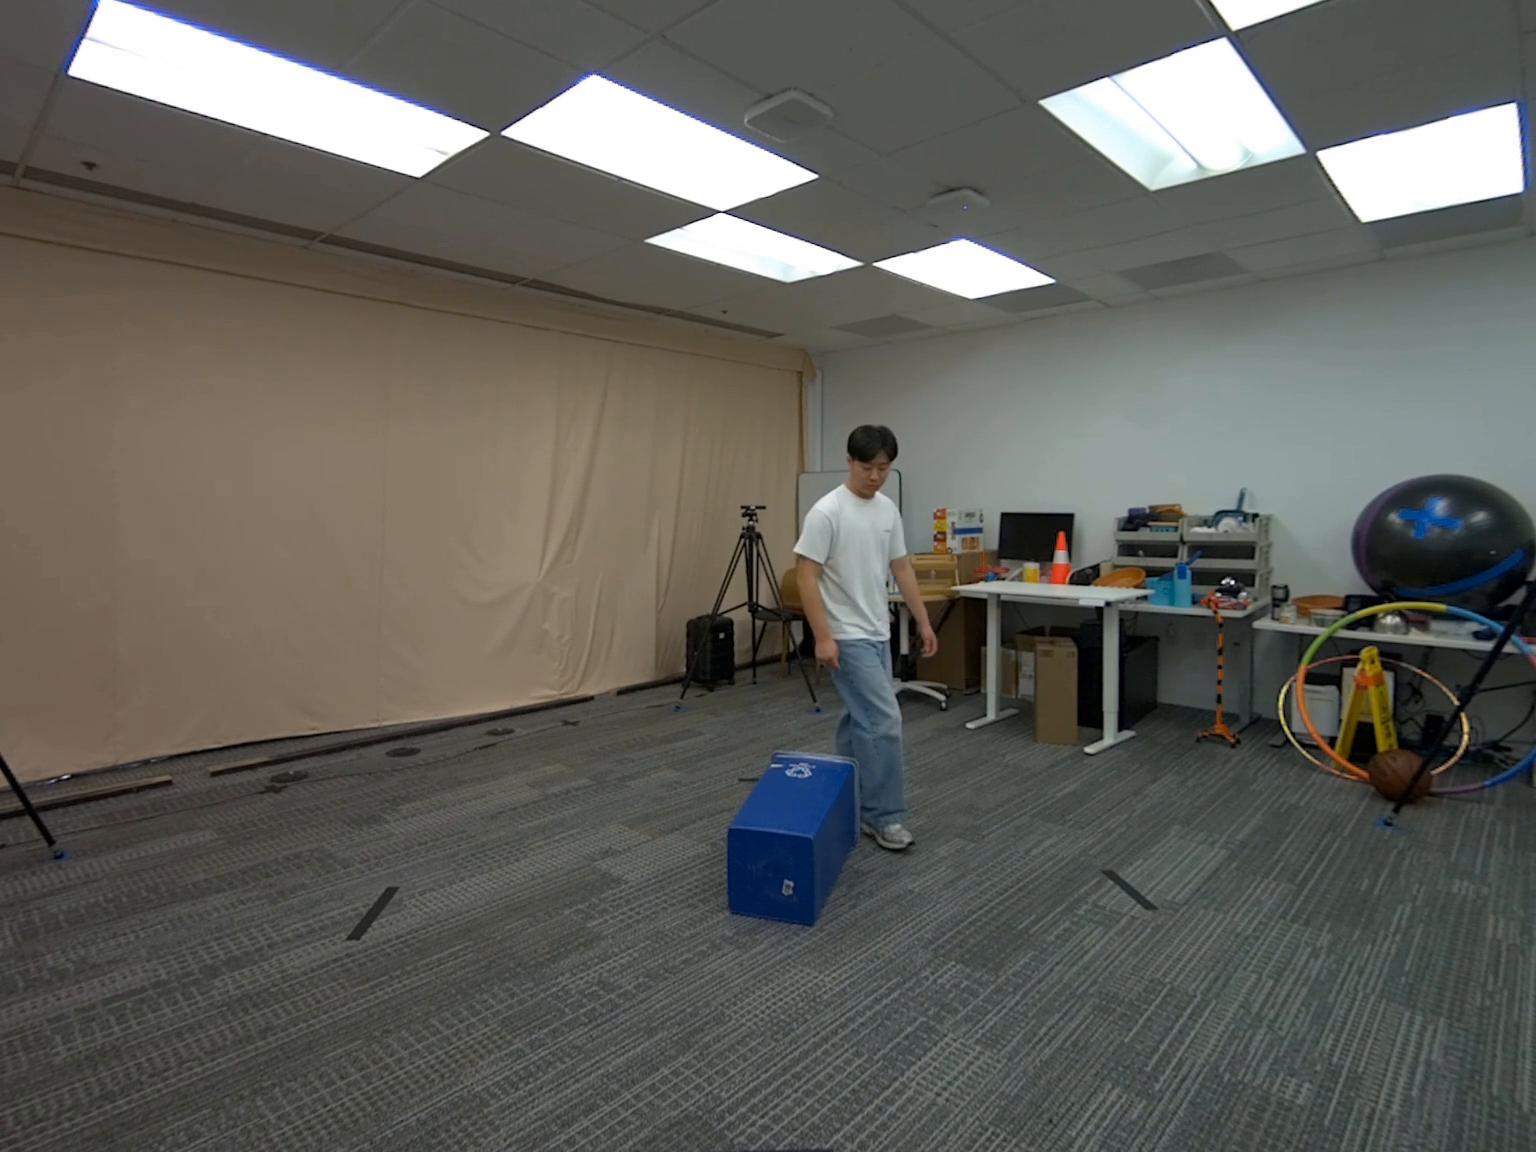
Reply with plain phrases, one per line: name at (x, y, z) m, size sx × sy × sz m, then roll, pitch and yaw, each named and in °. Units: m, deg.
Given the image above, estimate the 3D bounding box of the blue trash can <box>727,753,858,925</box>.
blue trash can at (0.105, 0.960, 3.144) m, size 0.381 × 0.376 × 0.704 m, roll 2°, pitch 7°, yaw 15°
